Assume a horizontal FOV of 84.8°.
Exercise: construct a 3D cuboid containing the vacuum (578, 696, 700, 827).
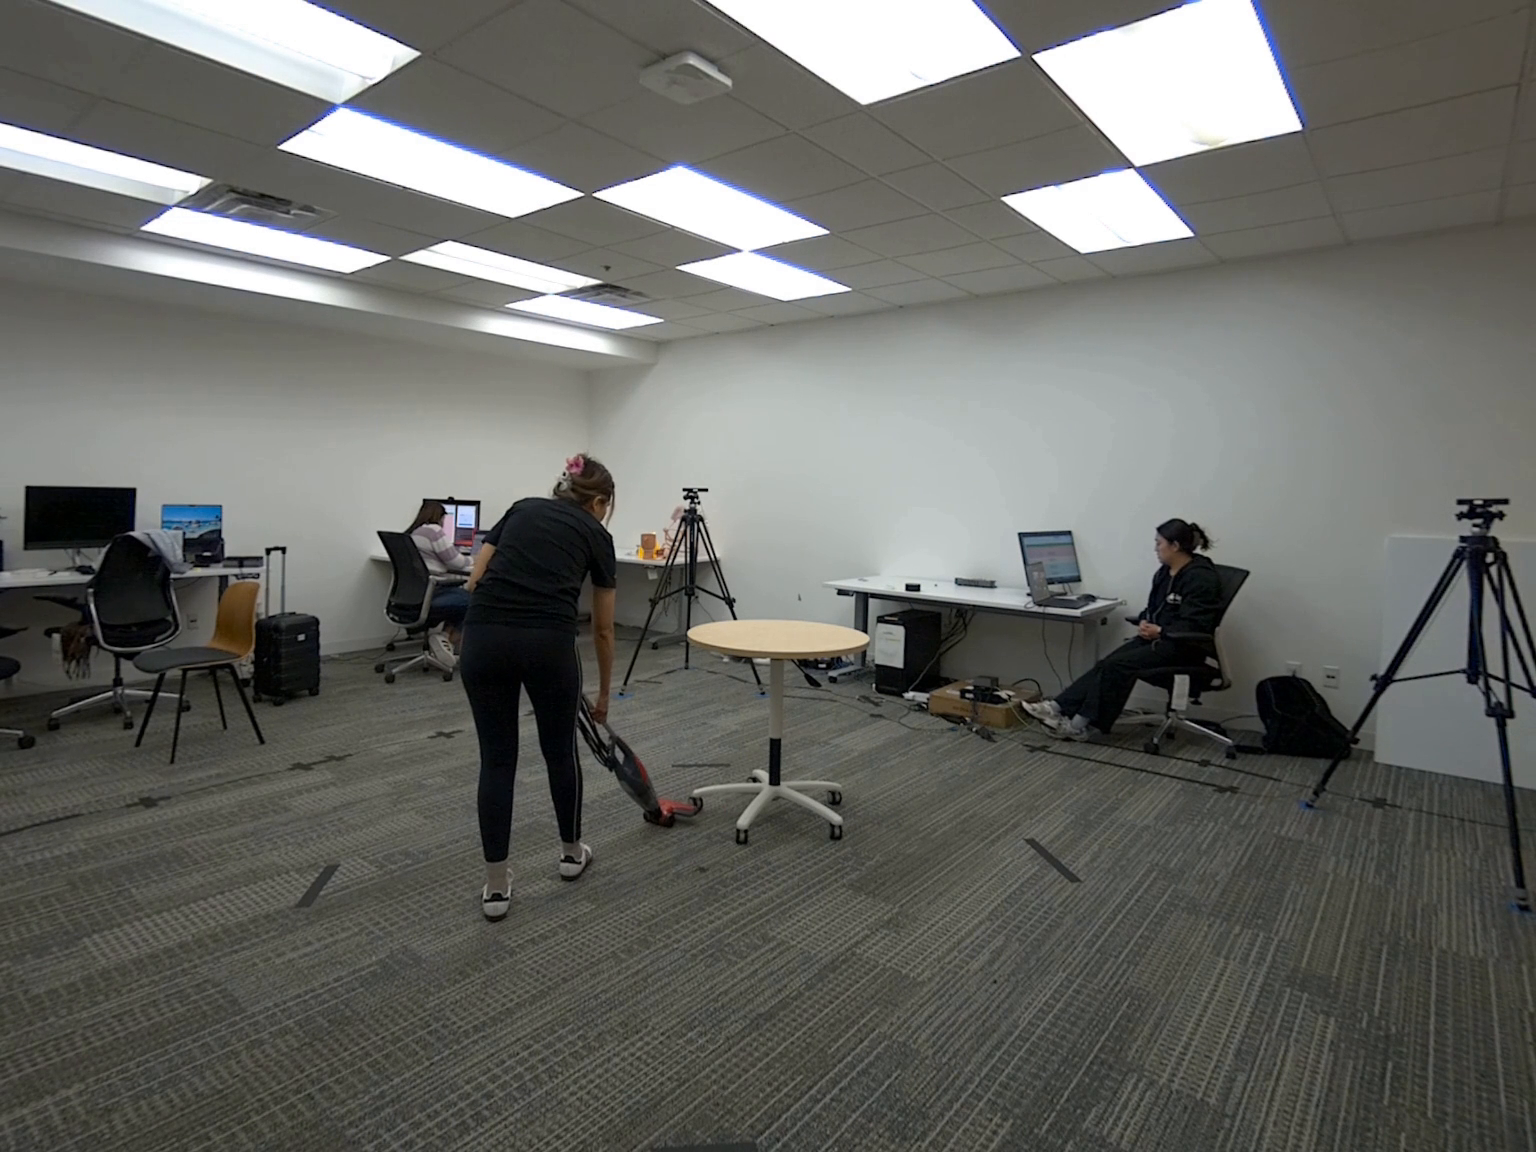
[{"bbox_3d":[-0.624,0.649,3.261,0.260,1.009,0.145,0,46,32],"label":"vacuum"}]
